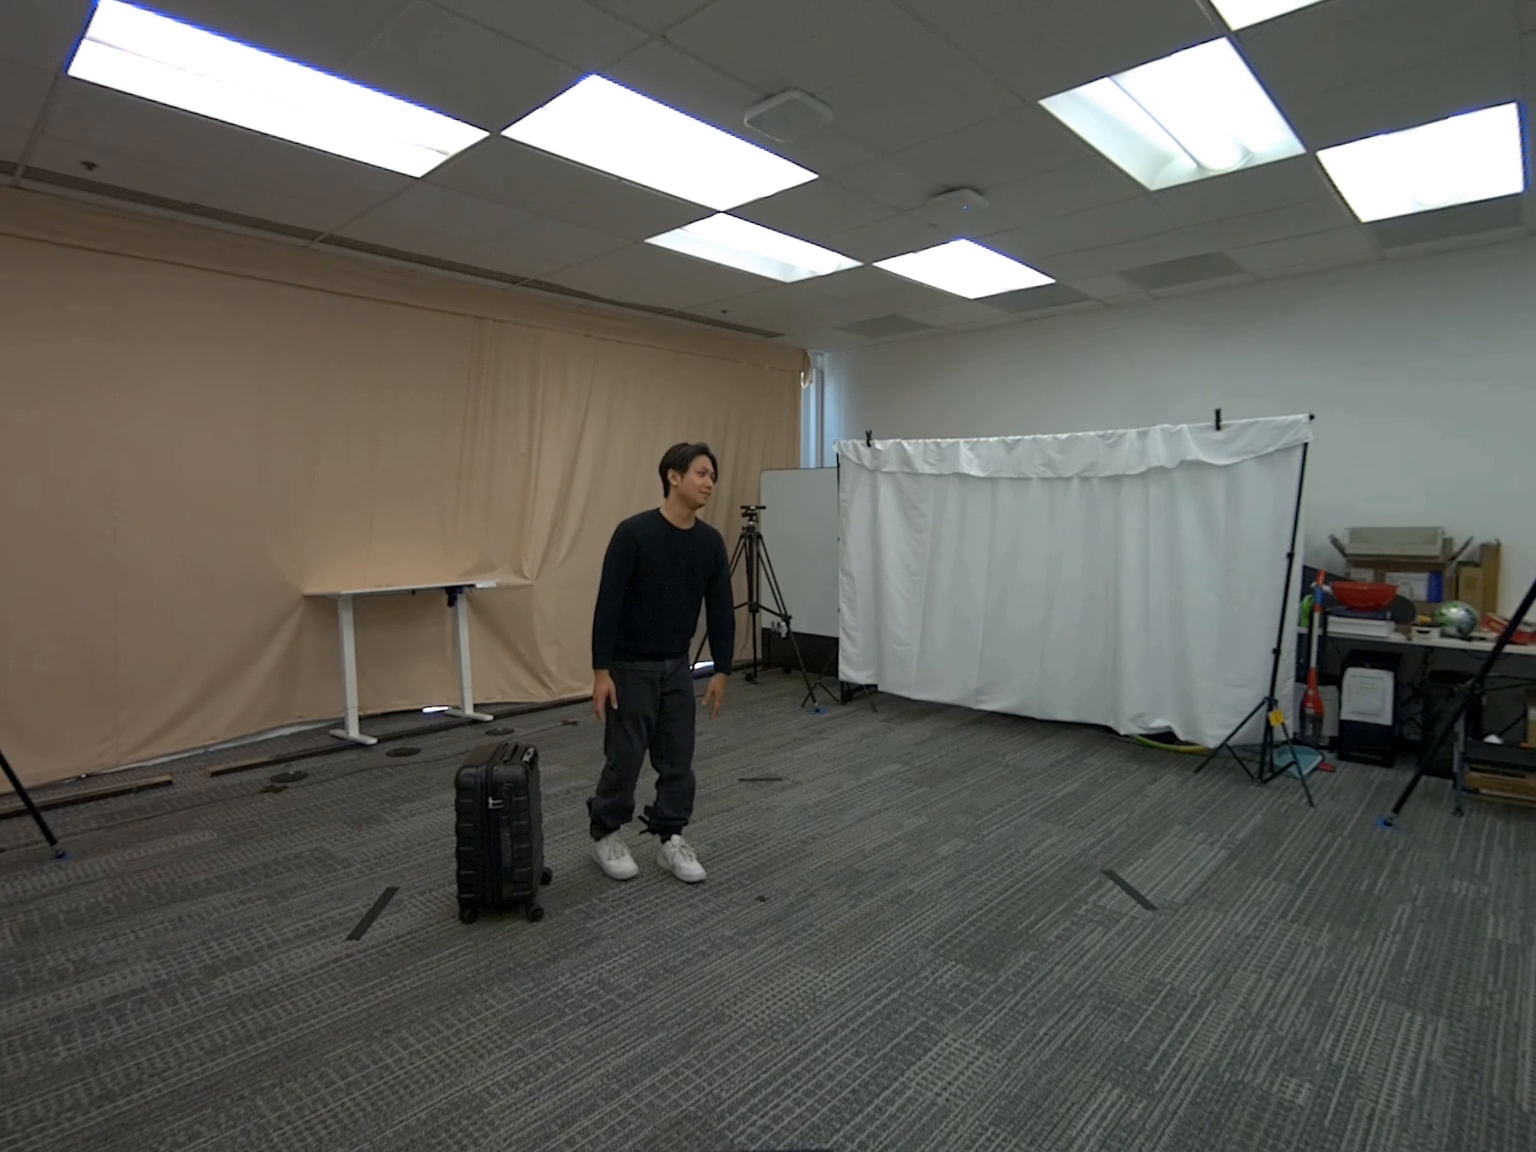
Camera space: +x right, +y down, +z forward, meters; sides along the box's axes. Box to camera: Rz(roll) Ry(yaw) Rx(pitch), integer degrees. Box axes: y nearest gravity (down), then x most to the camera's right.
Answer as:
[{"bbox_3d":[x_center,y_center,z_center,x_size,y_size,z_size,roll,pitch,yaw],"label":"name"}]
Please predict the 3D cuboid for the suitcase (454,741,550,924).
[{"bbox_3d":[-0.939,0.878,2.952,0.246,0.548,0.379,-1,4,-8],"label":"suitcase"}]
